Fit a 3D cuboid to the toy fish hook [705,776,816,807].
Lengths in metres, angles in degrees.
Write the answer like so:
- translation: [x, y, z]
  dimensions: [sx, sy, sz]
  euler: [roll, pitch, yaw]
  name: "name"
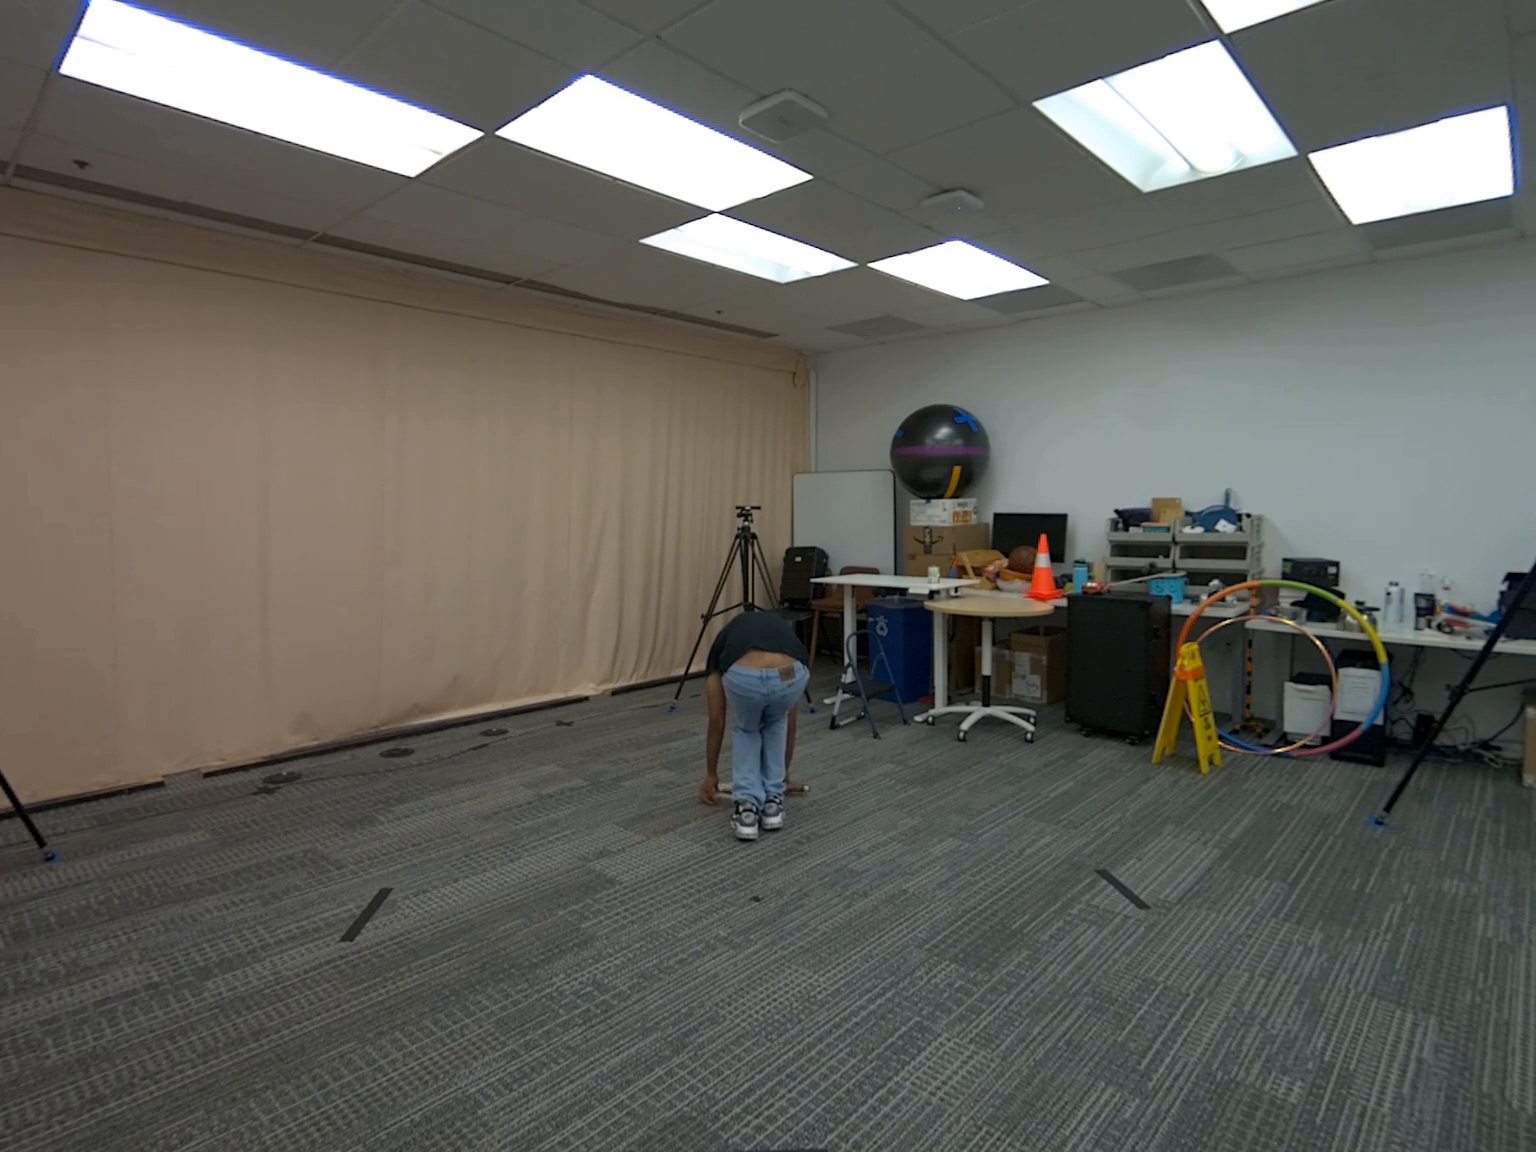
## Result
- translation: [-0.043, 1.016, 4.009]
  dimensions: [0.507, 0.048, 0.225]
  euler: [-2, 6, 1]
  name: "toy fish hook"
